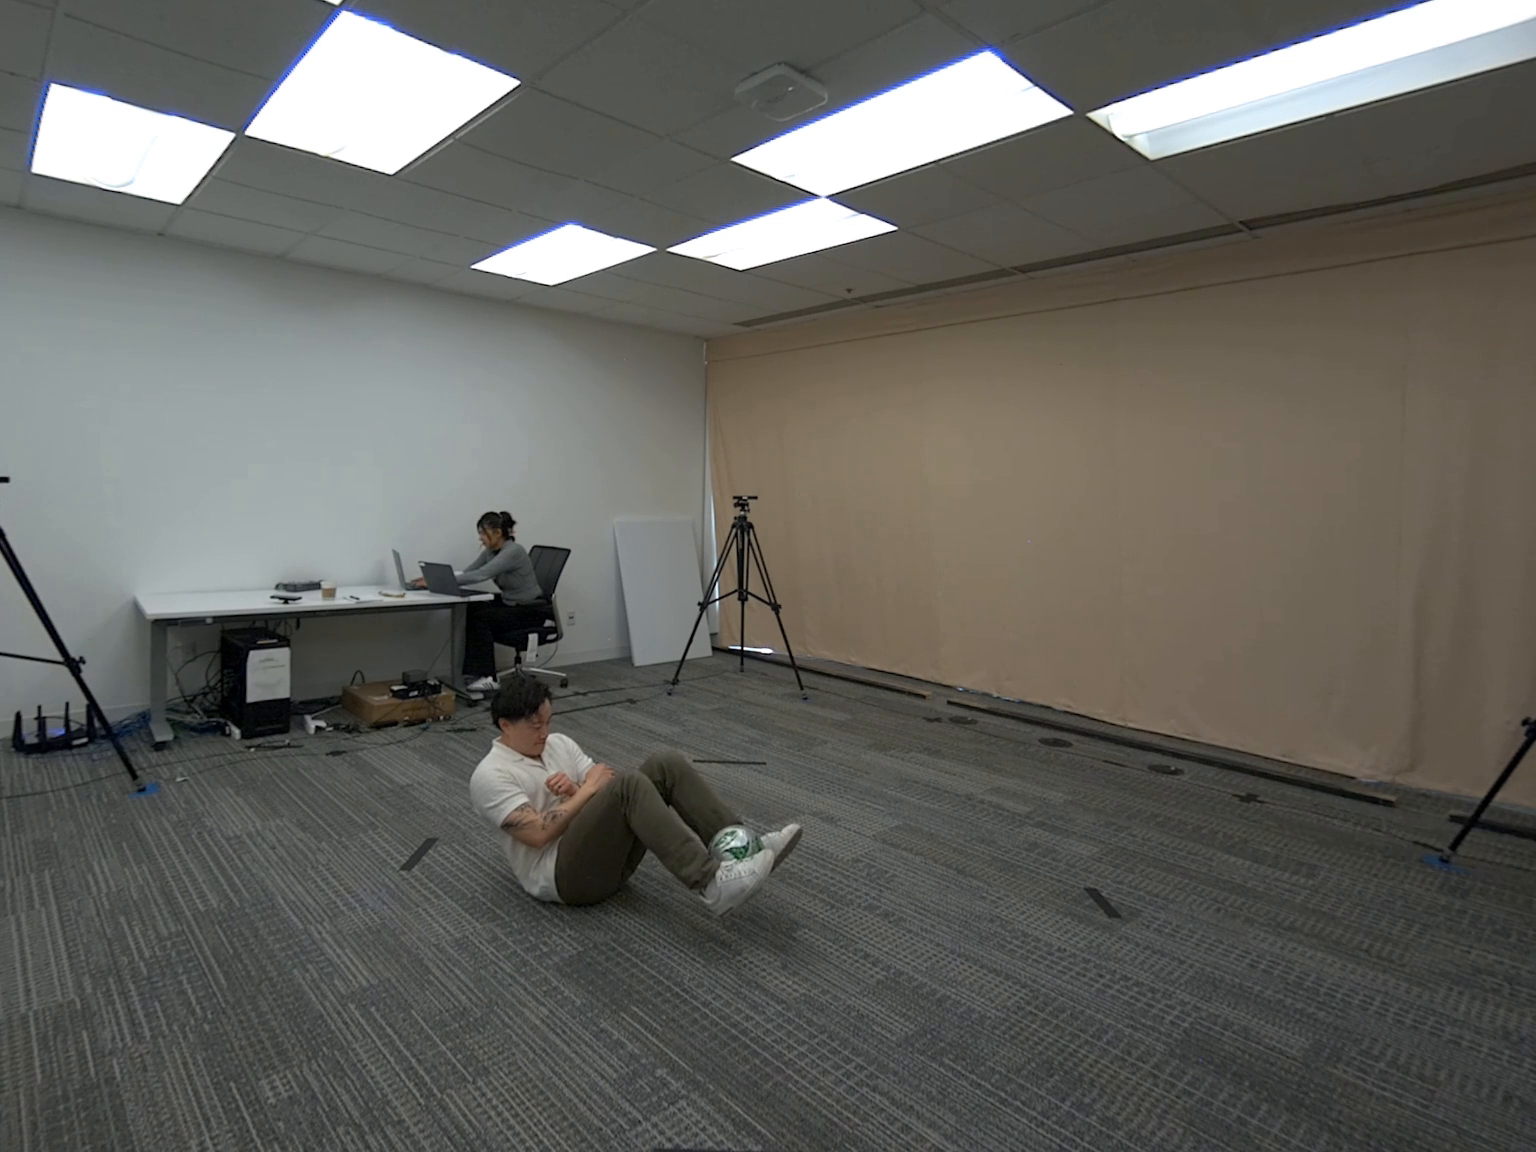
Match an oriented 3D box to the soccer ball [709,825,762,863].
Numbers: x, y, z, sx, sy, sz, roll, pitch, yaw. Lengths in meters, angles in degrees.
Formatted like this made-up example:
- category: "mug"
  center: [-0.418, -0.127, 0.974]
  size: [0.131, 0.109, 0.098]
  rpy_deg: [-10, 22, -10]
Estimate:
- category: "soccer ball"
  center: [-0.121, 0.900, 2.679]
  size: [0.187, 0.187, 0.188]
  rpy_deg: [1, 4, -1]
